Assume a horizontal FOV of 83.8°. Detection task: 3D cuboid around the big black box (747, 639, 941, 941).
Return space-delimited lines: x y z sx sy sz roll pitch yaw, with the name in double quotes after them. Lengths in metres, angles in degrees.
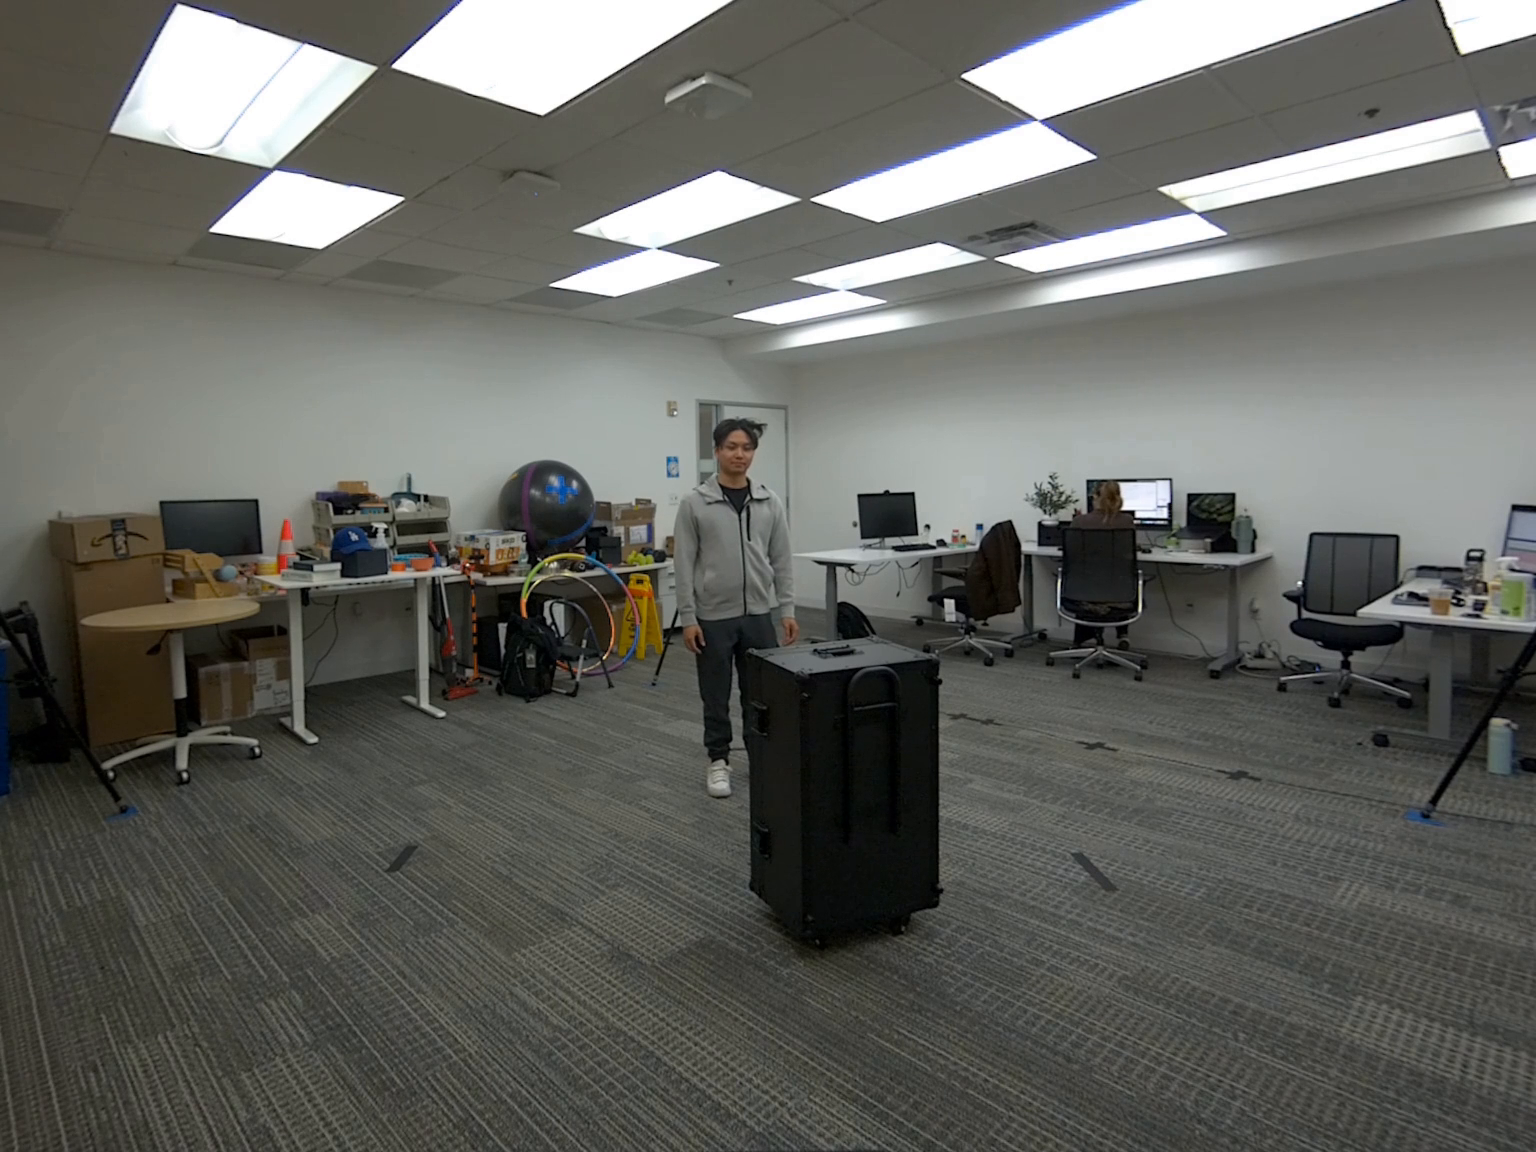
0.246 0.668 2.665 0.510 0.857 0.406 -3 6 -25 "big black box"
